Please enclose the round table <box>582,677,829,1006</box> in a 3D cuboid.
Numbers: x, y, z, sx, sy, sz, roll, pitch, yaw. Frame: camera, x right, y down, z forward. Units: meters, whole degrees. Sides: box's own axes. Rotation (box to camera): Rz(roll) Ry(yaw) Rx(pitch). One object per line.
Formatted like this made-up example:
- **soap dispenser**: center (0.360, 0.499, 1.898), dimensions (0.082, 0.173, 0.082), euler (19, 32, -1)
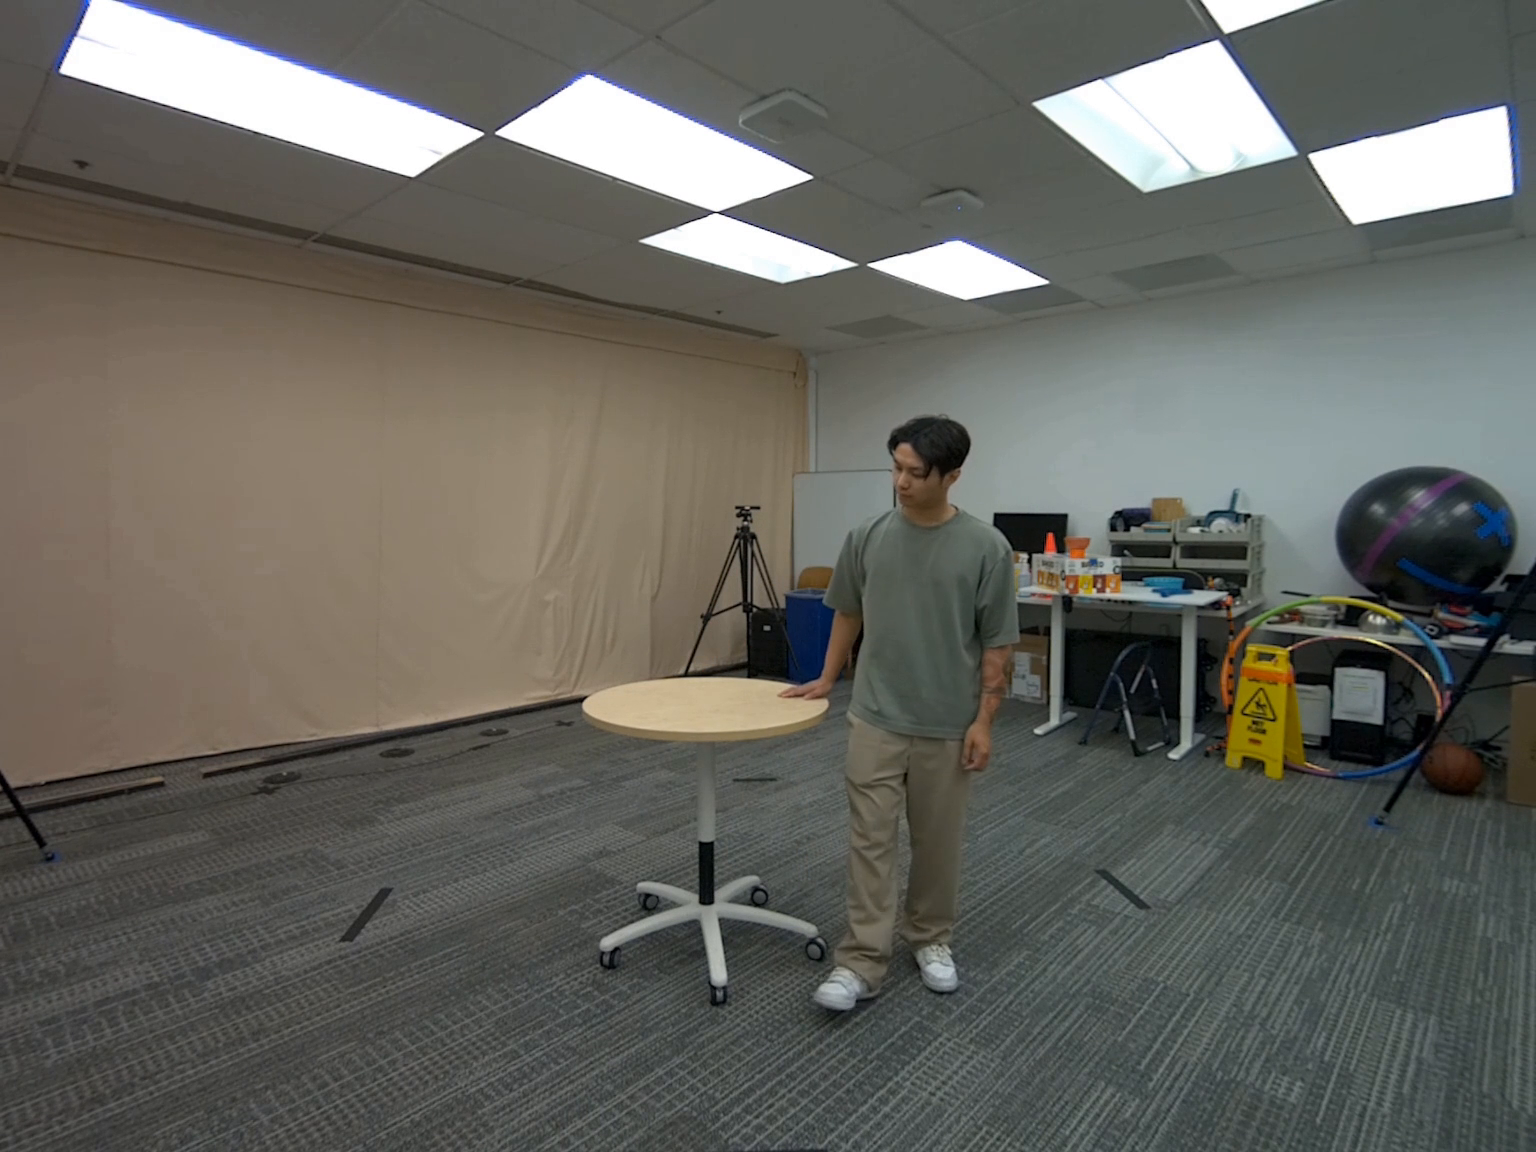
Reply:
- **round table**: center (-0.190, 0.787, 2.649), dimensions (0.763, 0.792, 0.766), euler (0, 3, -2)
